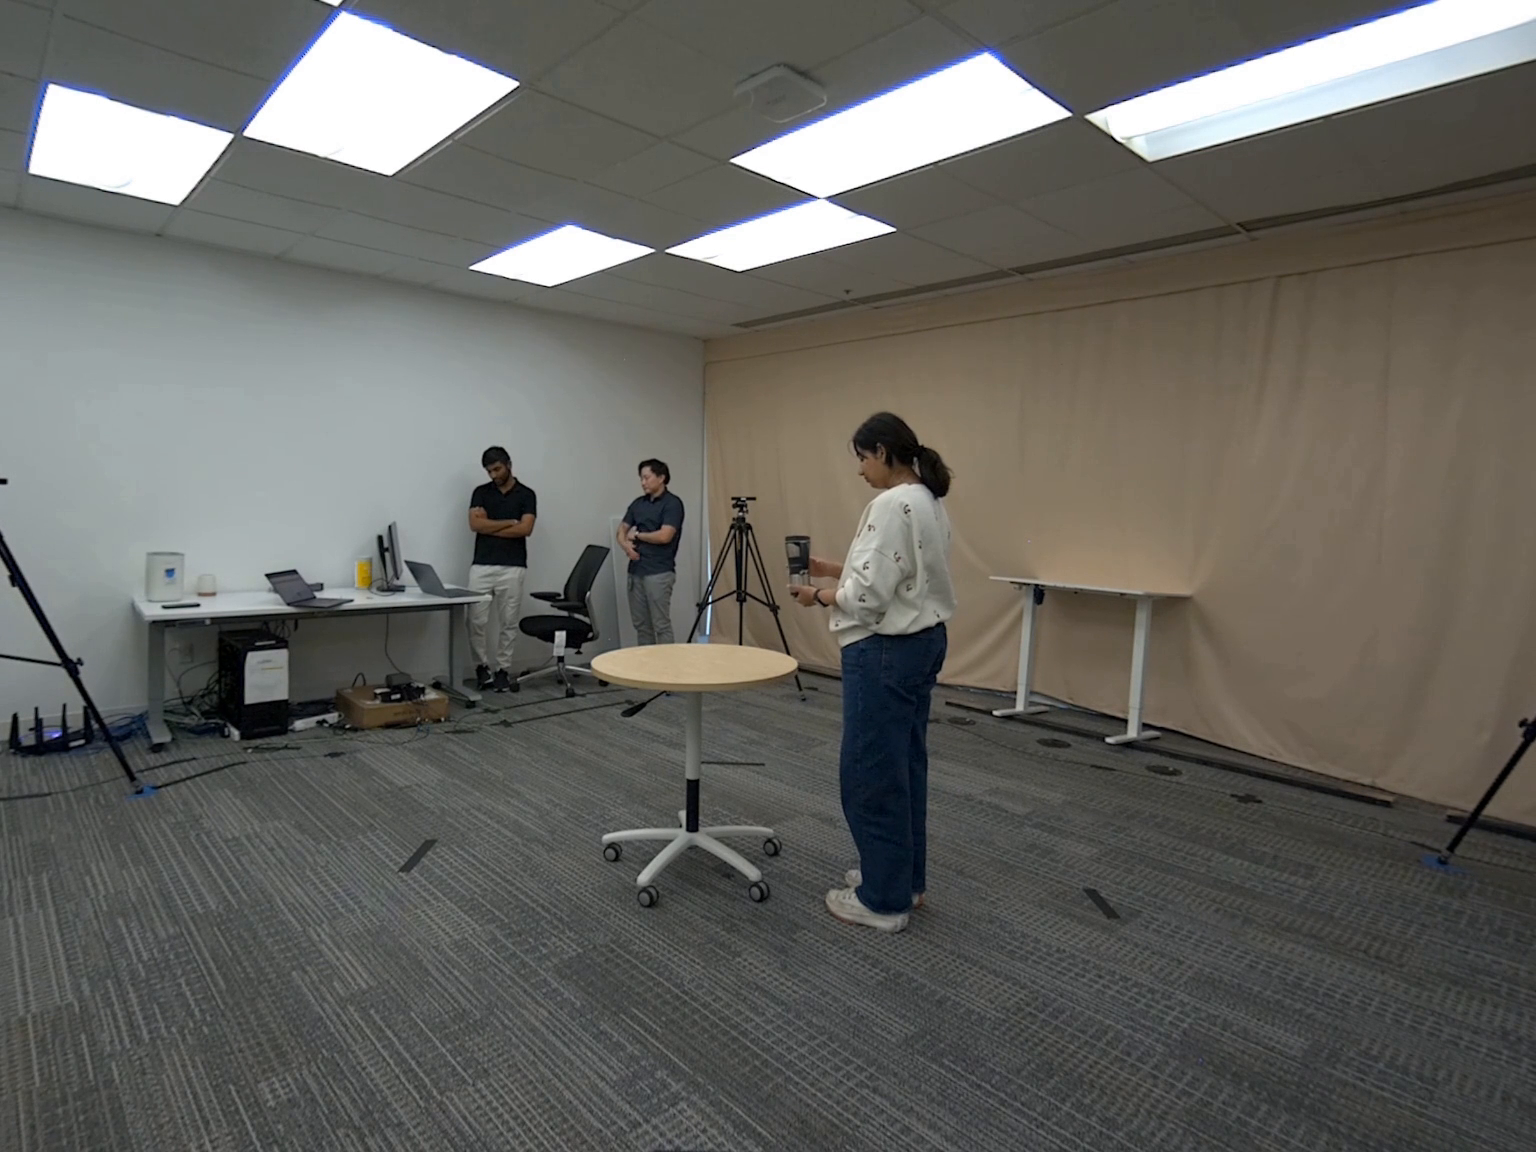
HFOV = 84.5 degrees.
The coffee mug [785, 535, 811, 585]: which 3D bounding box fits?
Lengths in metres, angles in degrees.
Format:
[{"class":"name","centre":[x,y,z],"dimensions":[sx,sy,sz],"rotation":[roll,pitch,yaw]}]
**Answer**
[{"class":"coffee mug","centre":[0.084,-0.031,2.902],"dimensions":[0.122,0.203,0.087],"rotation":[0,-2,3]}]
